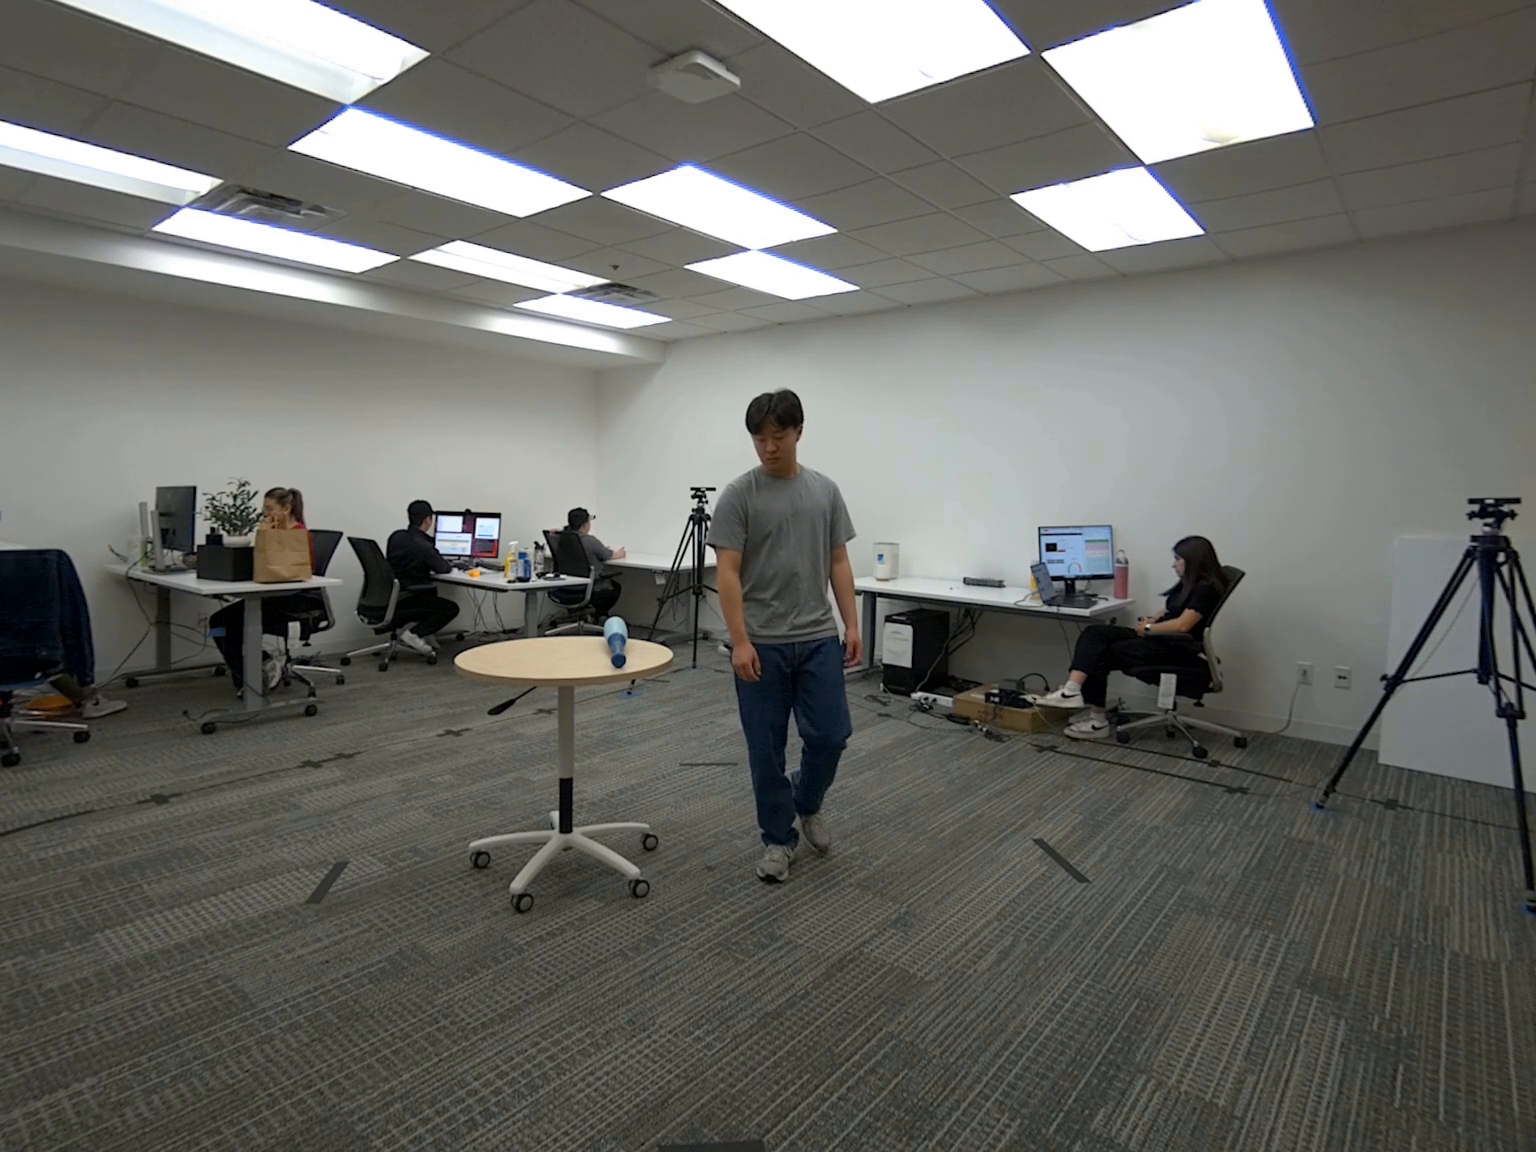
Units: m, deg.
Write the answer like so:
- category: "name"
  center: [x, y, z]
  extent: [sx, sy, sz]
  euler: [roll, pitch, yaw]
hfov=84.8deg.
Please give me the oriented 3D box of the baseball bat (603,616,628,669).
- category: "baseball bat"
  center: [-0.557, 0.242, 3.083]
  extent: [0.088, 0.088, 0.554]
  euler: [0, 9, -13]
